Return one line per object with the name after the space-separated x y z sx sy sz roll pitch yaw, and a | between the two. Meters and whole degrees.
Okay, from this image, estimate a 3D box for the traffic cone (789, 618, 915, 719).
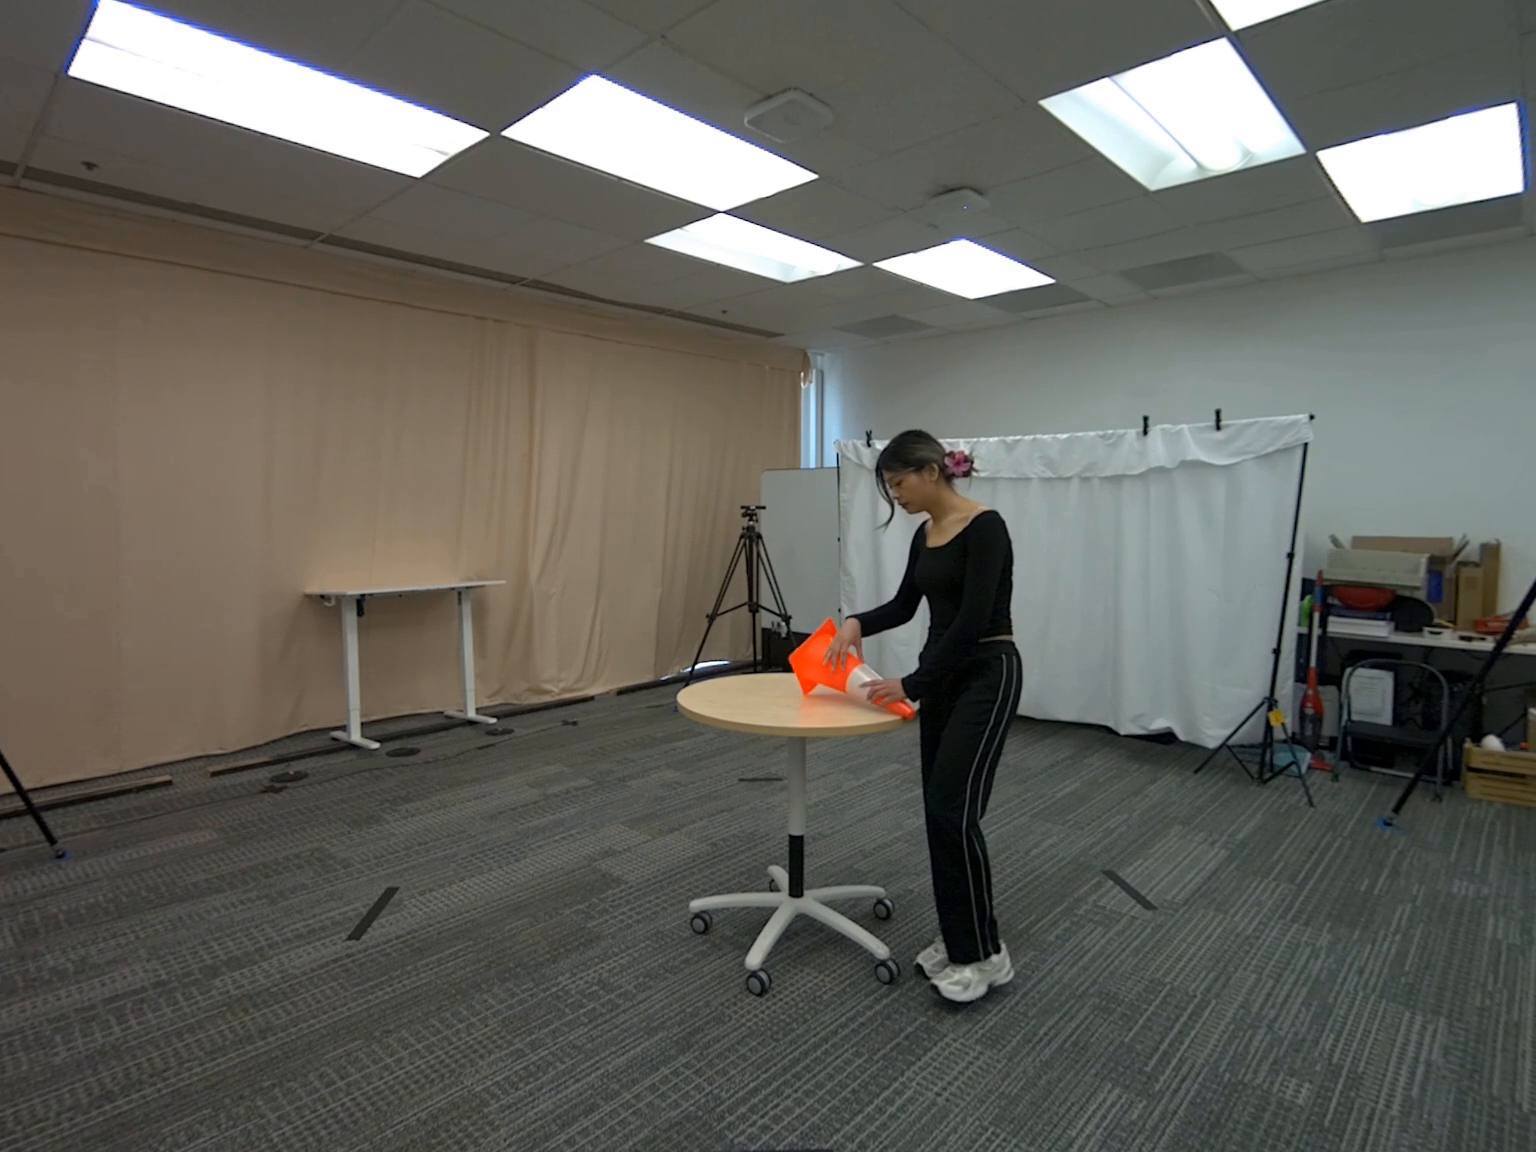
0.286 0.333 2.539 0.202 0.199 0.398 -40 44 -19 | traffic cone
